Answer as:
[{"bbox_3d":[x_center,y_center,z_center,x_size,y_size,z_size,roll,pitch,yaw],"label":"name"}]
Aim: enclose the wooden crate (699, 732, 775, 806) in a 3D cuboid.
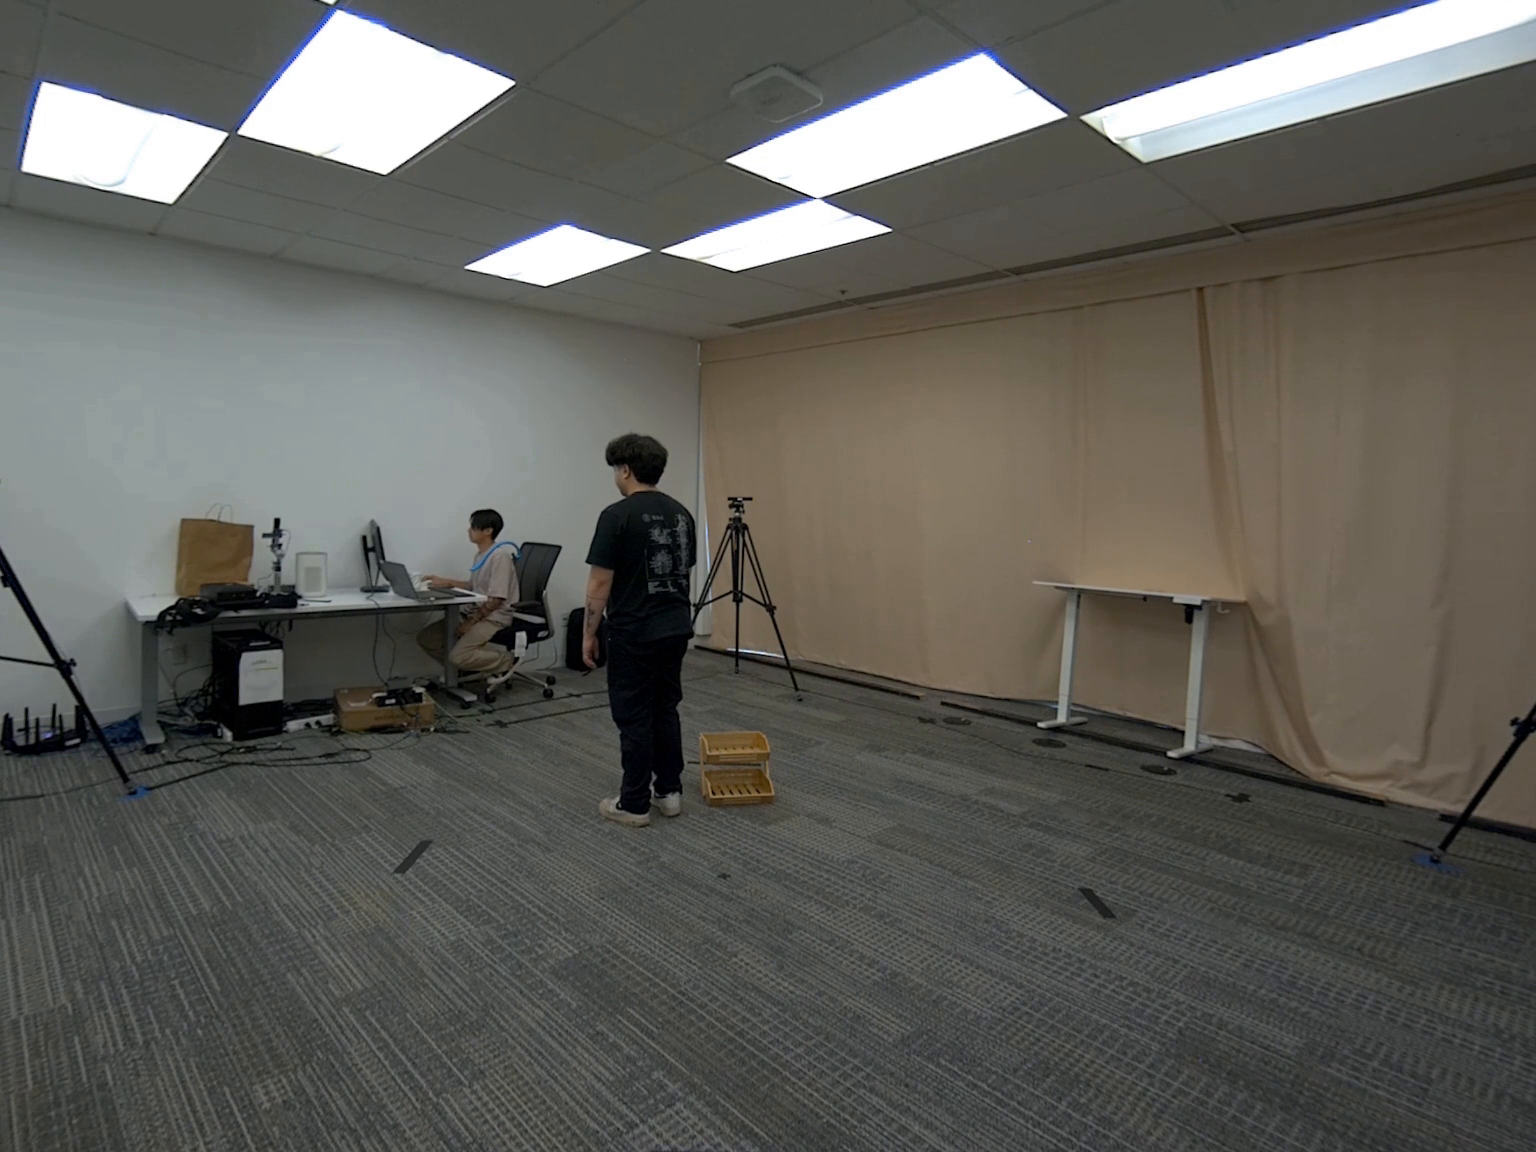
[{"bbox_3d":[-0.163,0.897,3.968,0.321,0.273,0.306,1,3,-14],"label":"wooden crate"}]
